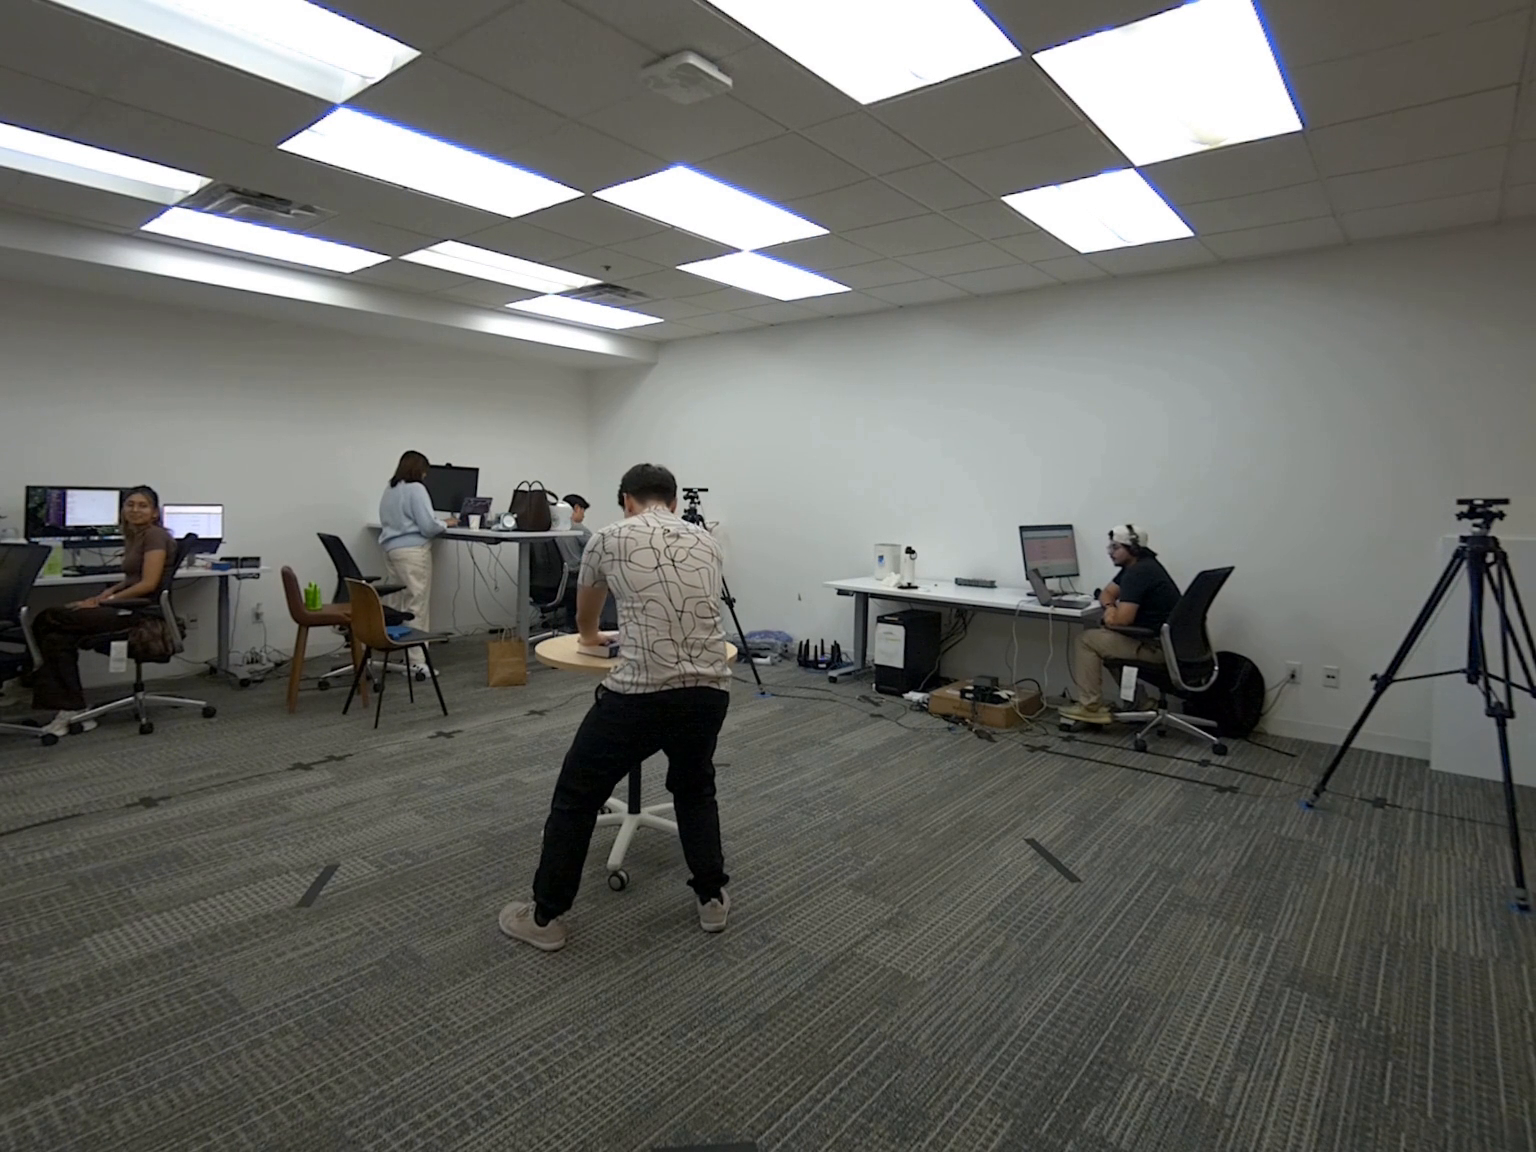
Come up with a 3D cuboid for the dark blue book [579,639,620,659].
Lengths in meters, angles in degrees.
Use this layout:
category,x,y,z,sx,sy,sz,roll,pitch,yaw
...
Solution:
category,x,y,z,sx,sy,sz,roll,pitch,yaw
dark blue book,-0.578,0.257,3.160,0.168,0.045,0.239,7,8,30
